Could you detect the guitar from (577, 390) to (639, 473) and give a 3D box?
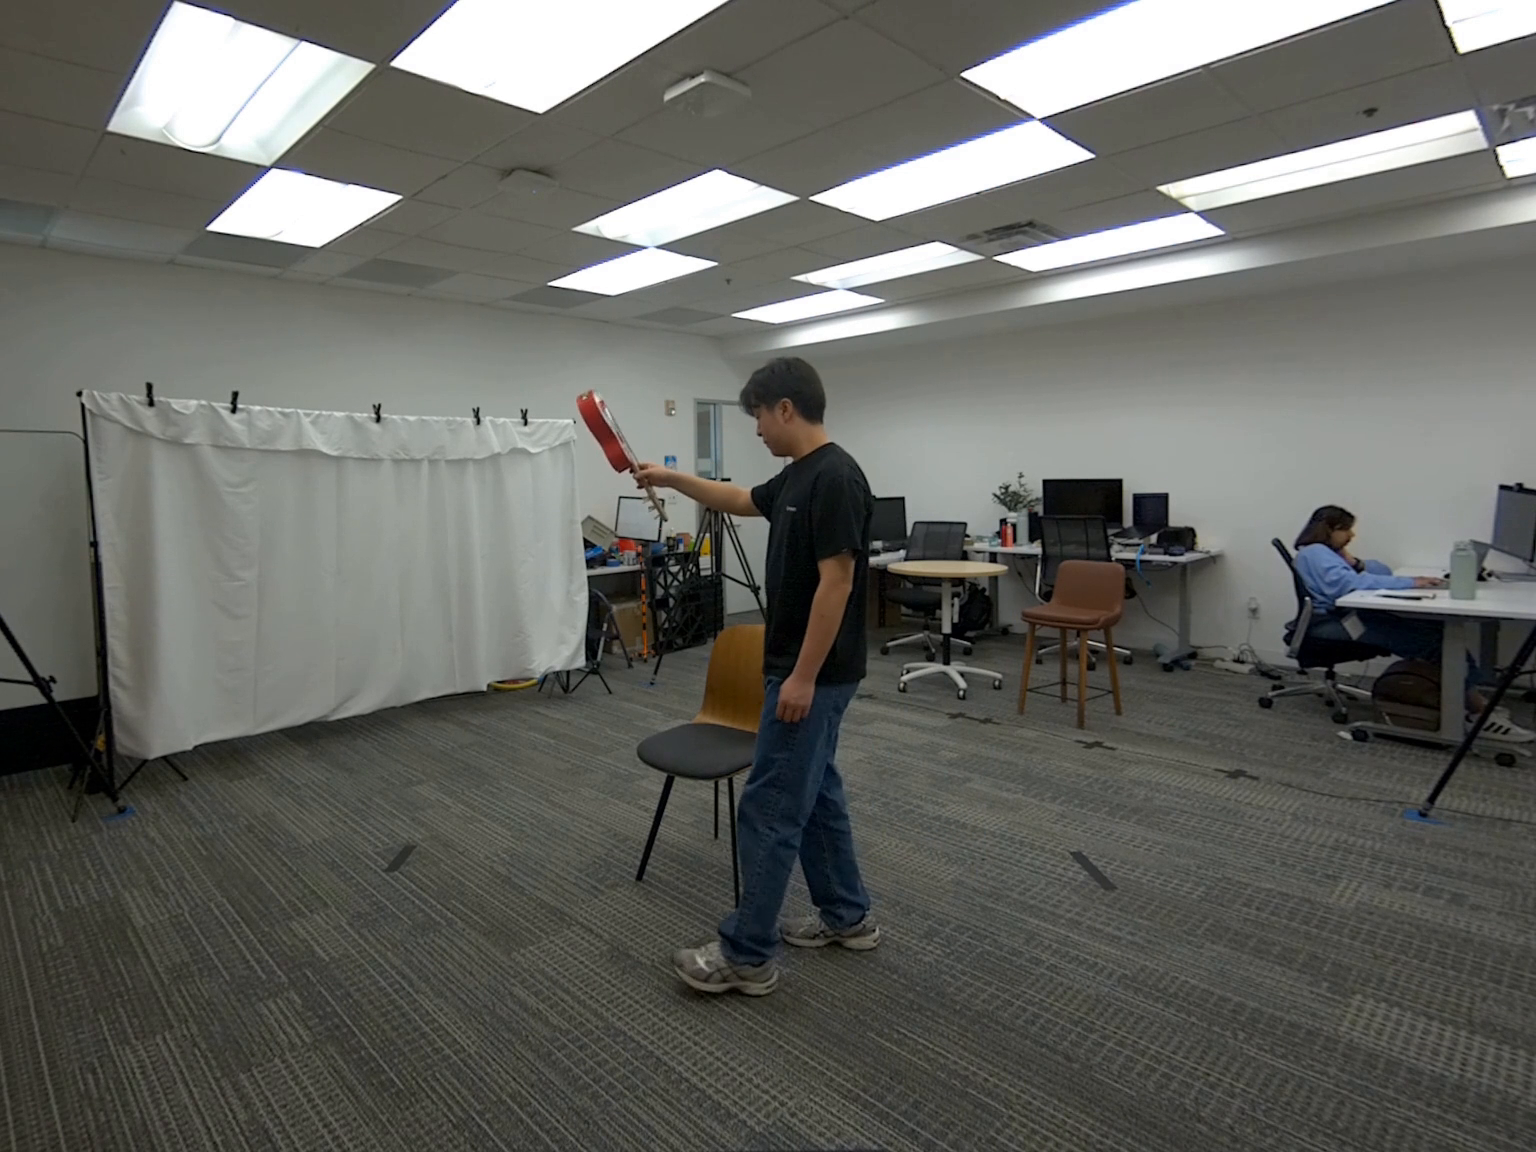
[{"bbox_3d":[-0.464,-0.370,2.750,0.071,0.491,0.195,-25,11,4],"label":"guitar"}]
